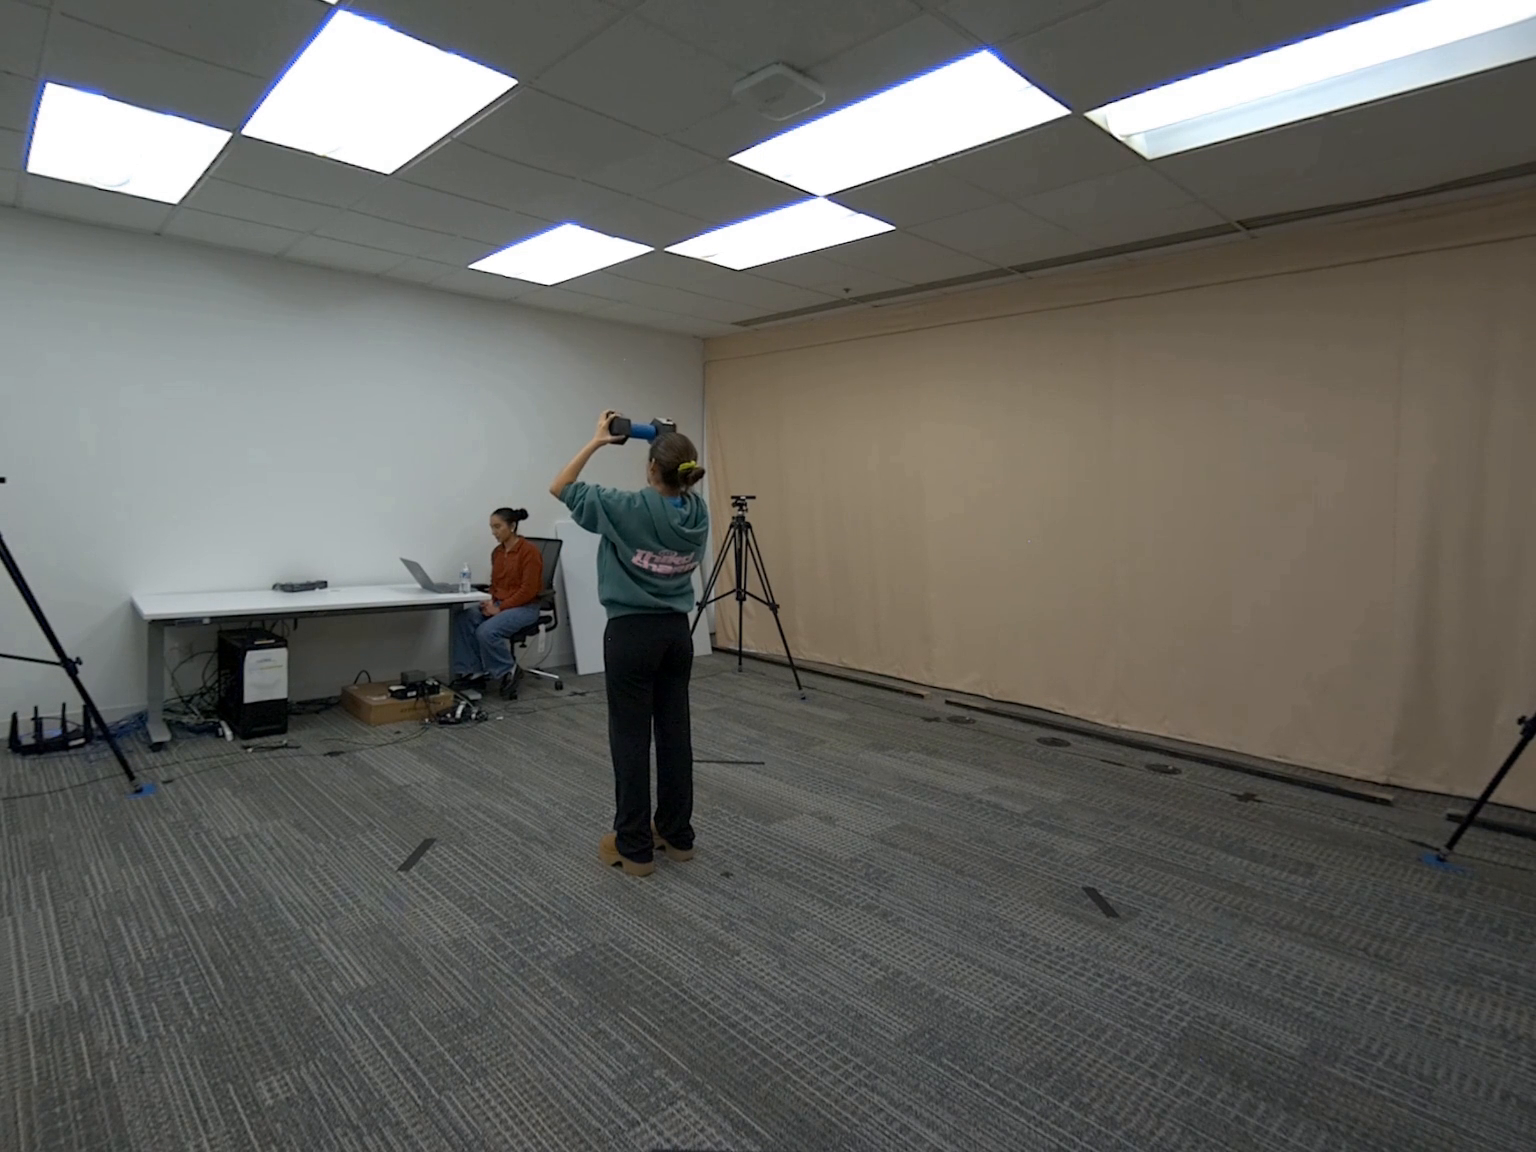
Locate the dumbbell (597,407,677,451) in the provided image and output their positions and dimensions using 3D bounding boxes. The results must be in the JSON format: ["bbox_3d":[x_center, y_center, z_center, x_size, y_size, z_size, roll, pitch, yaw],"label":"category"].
[{"bbox_3d":[-0.503,-0.564,3.262,0.287,0.123,0.111,-1,-3,-44],"label":"dumbbell"}]
